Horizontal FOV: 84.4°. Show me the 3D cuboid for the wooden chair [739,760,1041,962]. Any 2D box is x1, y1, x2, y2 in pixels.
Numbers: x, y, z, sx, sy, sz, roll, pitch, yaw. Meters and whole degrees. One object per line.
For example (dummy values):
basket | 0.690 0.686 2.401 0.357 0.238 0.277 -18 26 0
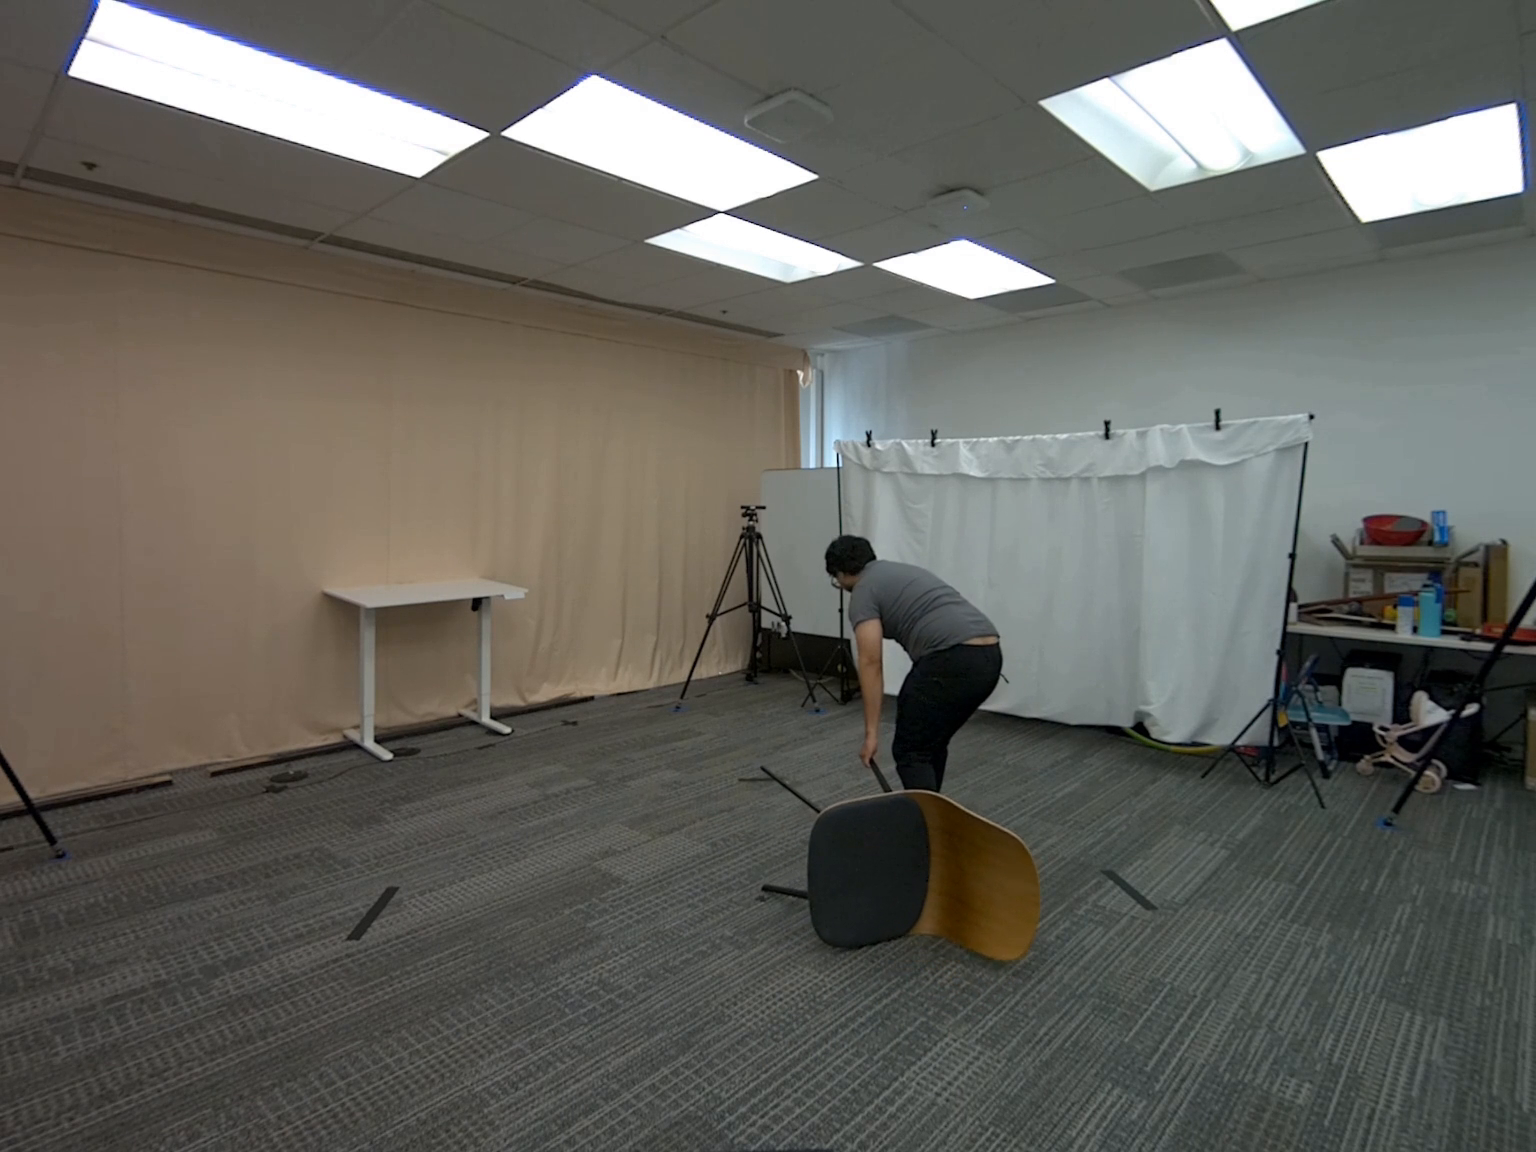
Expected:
wooden chair | 0.358 0.931 2.730 0.510 0.477 0.902 -2 4 -28
